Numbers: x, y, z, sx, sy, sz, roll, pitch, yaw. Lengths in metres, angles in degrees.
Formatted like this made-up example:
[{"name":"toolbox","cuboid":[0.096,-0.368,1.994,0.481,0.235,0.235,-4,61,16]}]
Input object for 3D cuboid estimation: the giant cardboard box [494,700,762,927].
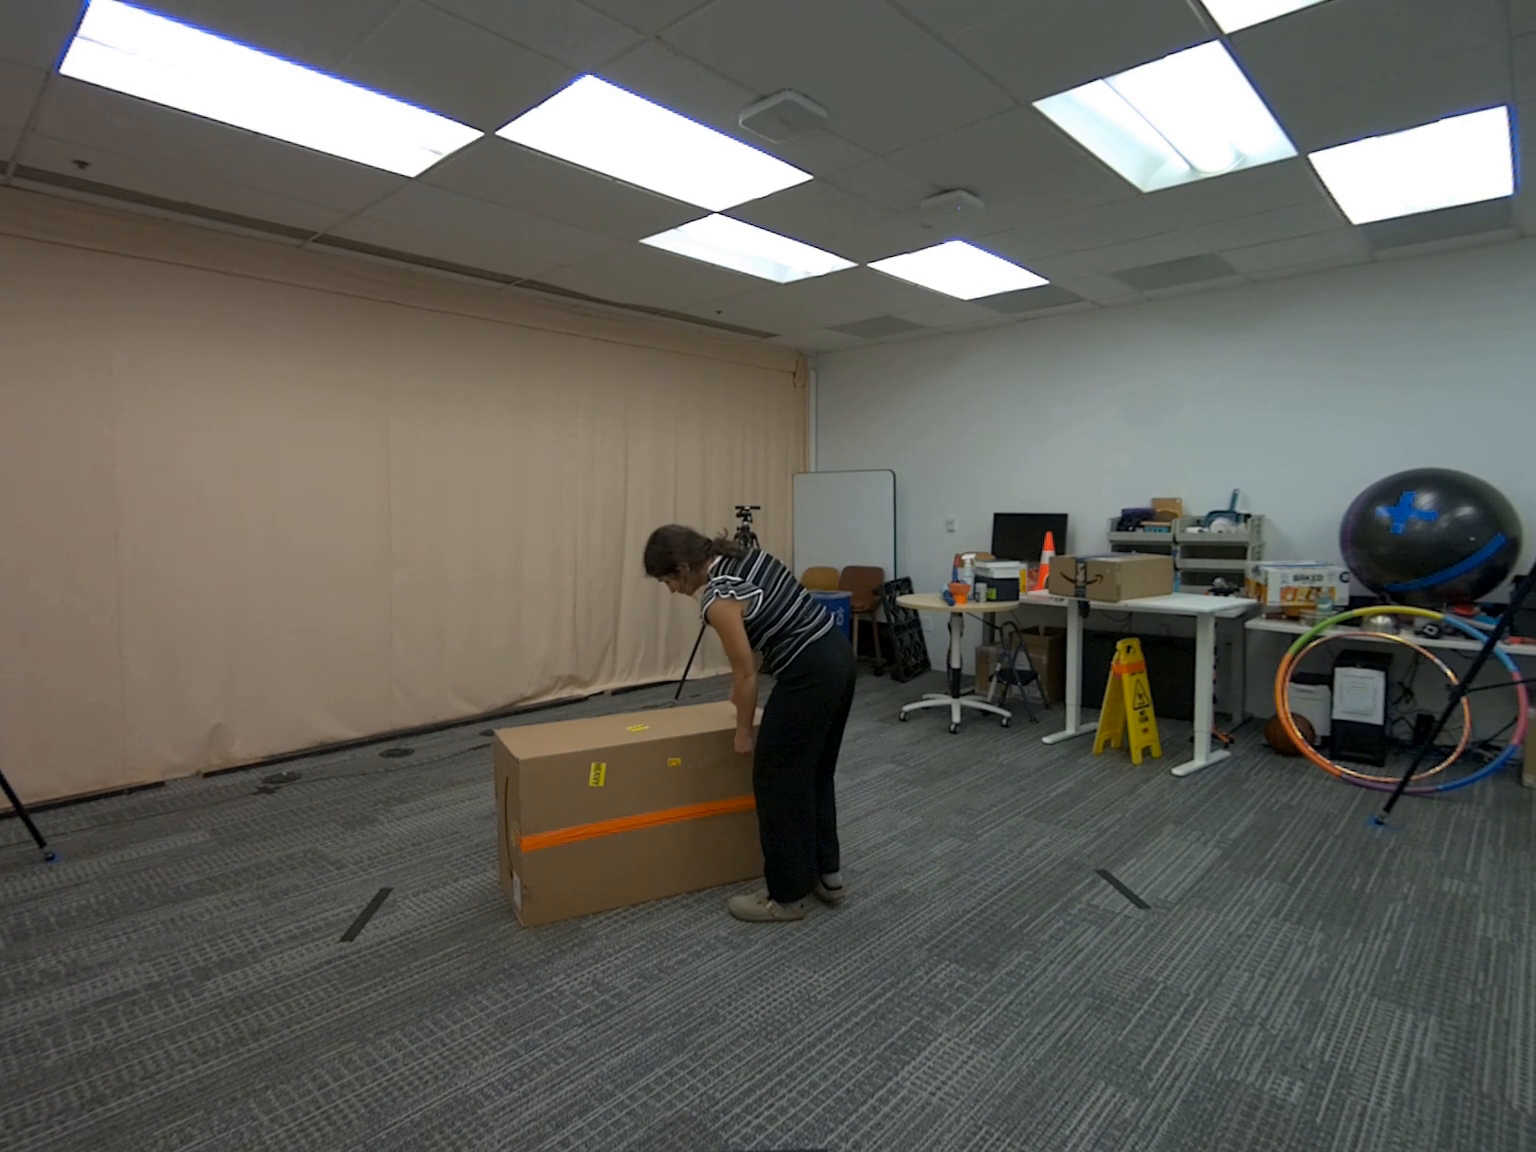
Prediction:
[{"name":"giant cardboard box","cuboid":[-0.470,0.843,3.171,1.001,0.576,0.437,-2,3,-25]}]
